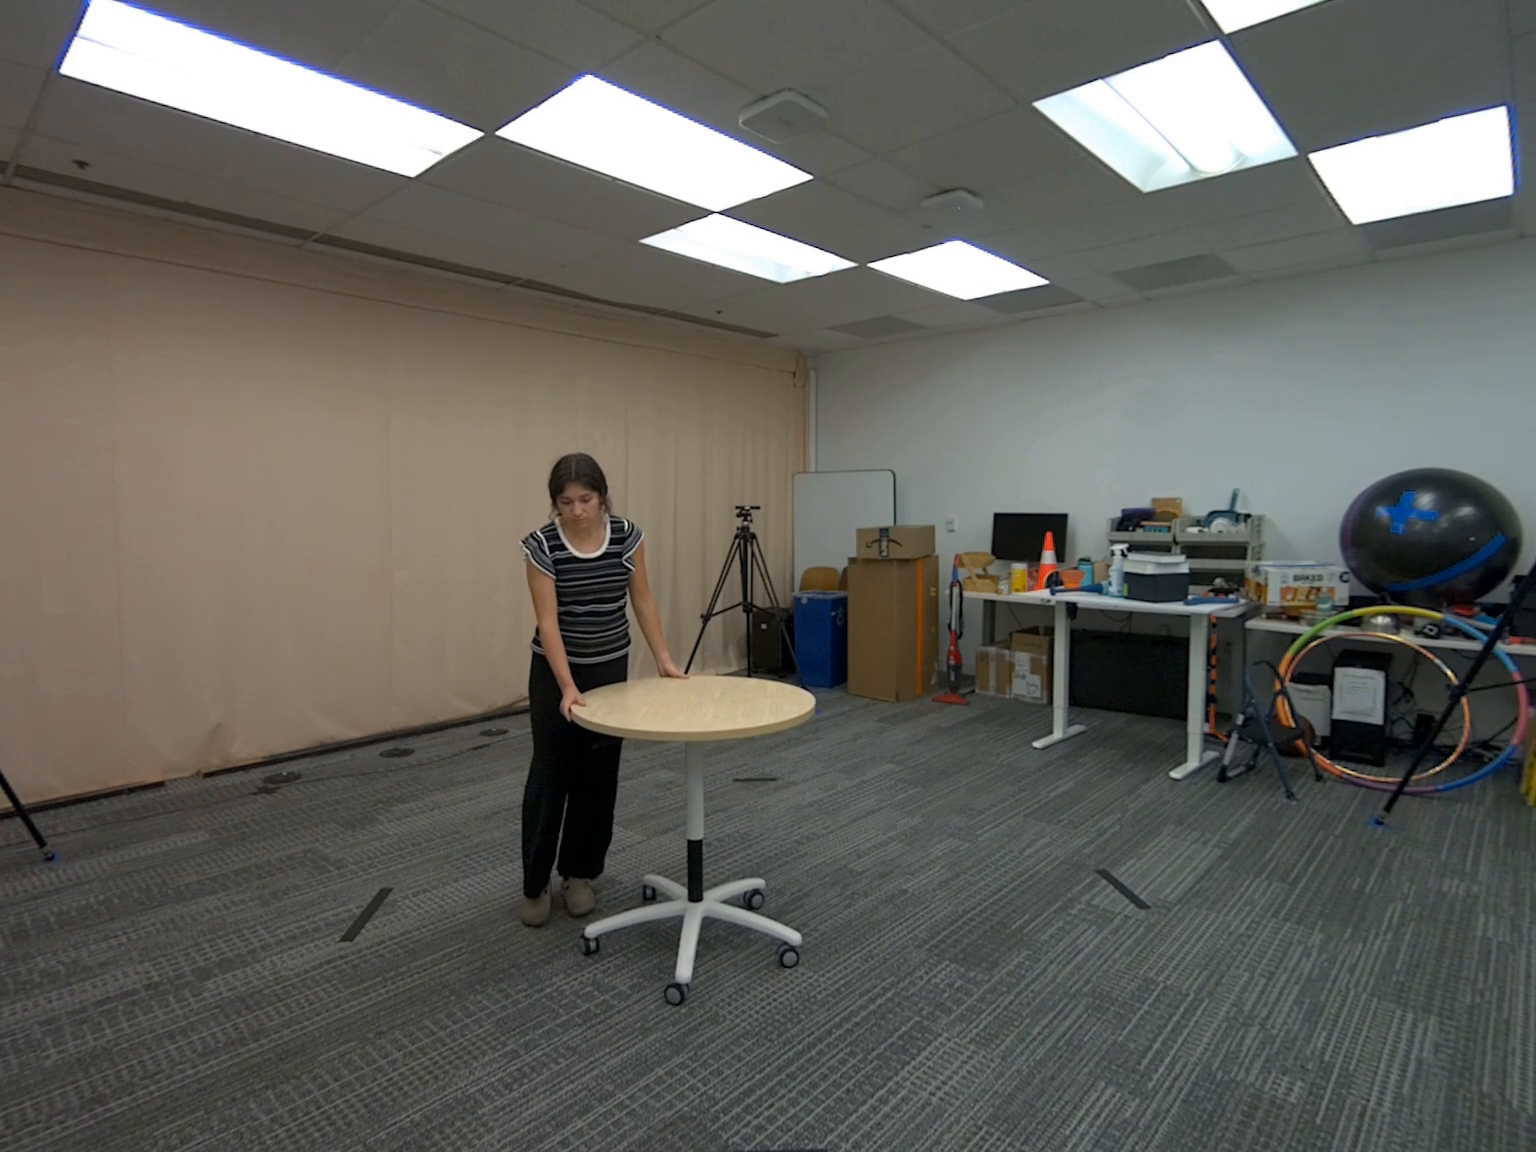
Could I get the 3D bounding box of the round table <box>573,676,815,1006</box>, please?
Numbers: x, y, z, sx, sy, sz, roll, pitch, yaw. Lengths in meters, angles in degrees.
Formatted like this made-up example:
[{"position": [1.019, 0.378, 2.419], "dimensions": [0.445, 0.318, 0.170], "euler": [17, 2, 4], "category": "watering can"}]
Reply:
[{"position": [-0.226, 0.783, 2.665], "dimensions": [0.763, 0.792, 0.767], "euler": [-1, 4, -2], "category": "round table"}]
